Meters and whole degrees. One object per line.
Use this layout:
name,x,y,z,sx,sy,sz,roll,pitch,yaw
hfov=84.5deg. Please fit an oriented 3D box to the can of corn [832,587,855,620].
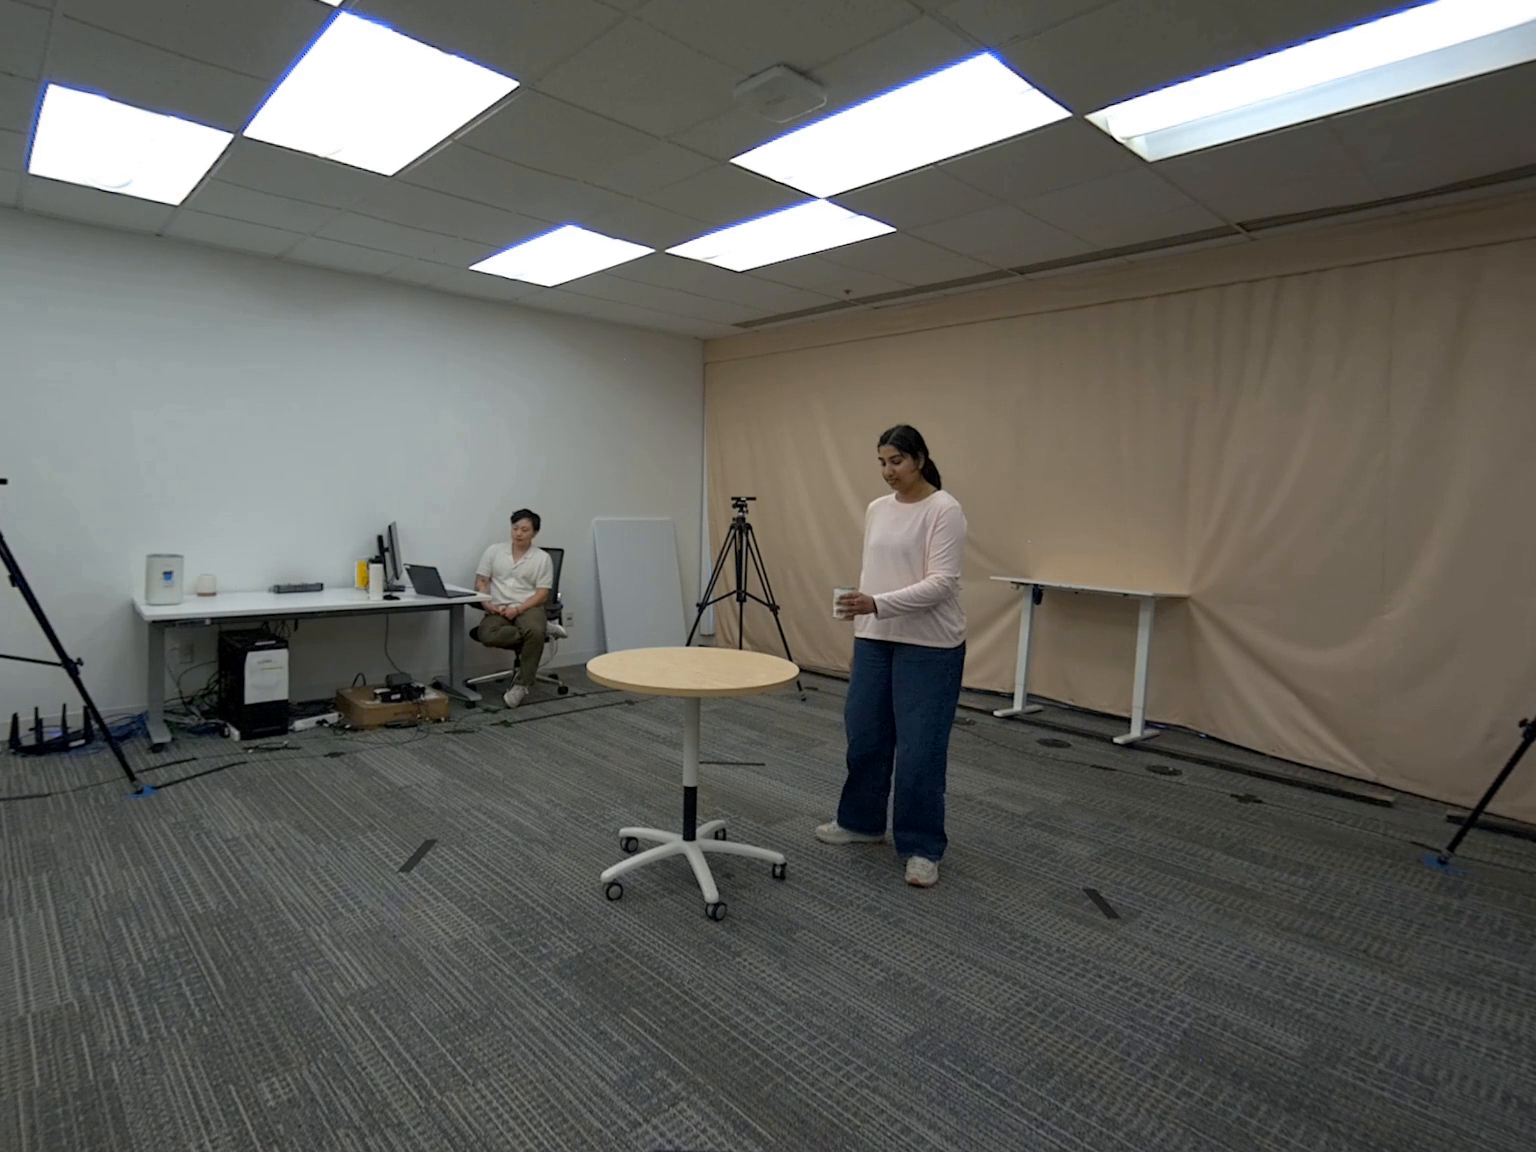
can of corn,0.262,0.095,2.917,0.074,0.111,0.074,1,1,-1
